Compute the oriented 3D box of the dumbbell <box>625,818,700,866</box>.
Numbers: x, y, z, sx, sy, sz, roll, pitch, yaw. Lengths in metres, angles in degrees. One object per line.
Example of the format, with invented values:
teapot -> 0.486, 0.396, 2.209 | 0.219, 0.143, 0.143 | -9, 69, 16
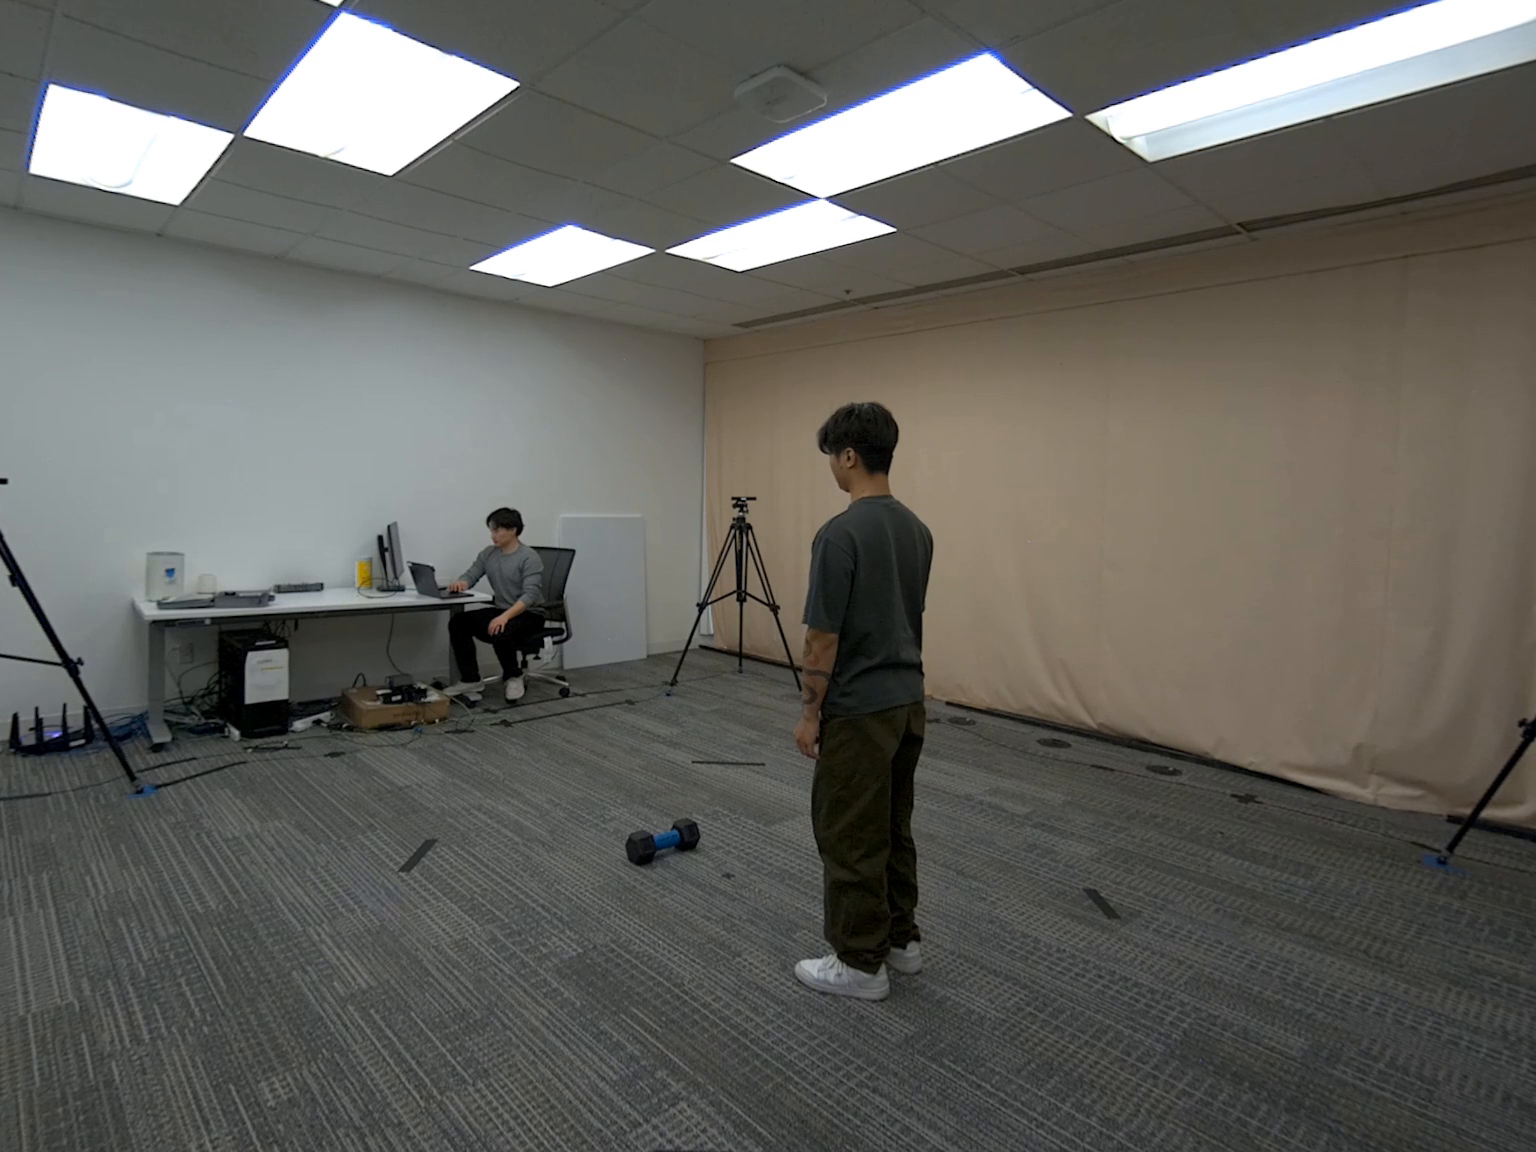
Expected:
dumbbell -> -0.414, 1.030, 3.274 | 0.287, 0.125, 0.109 | -3, -25, -41
